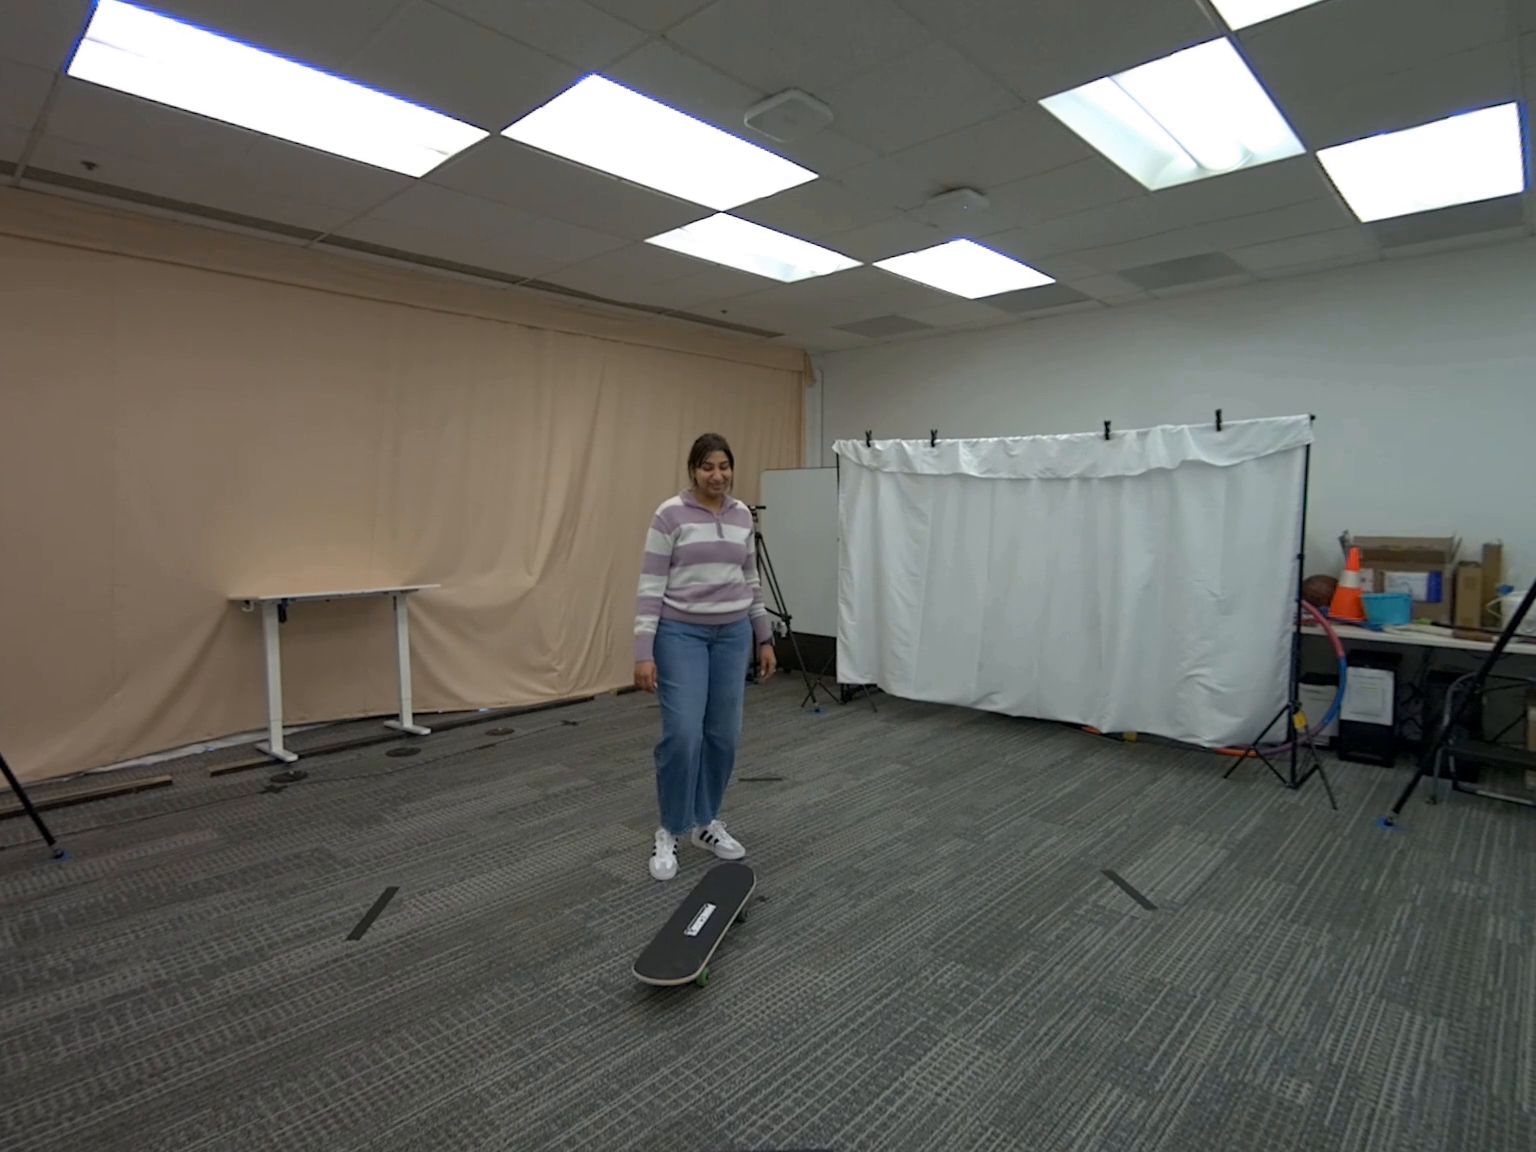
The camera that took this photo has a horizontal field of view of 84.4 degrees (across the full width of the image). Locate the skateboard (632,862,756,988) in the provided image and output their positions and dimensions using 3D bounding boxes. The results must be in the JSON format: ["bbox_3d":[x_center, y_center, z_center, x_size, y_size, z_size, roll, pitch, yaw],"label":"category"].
[{"bbox_3d":[-0.216,1.109,2.659,0.197,0.110,0.773,1,5,16],"label":"skateboard"}]
